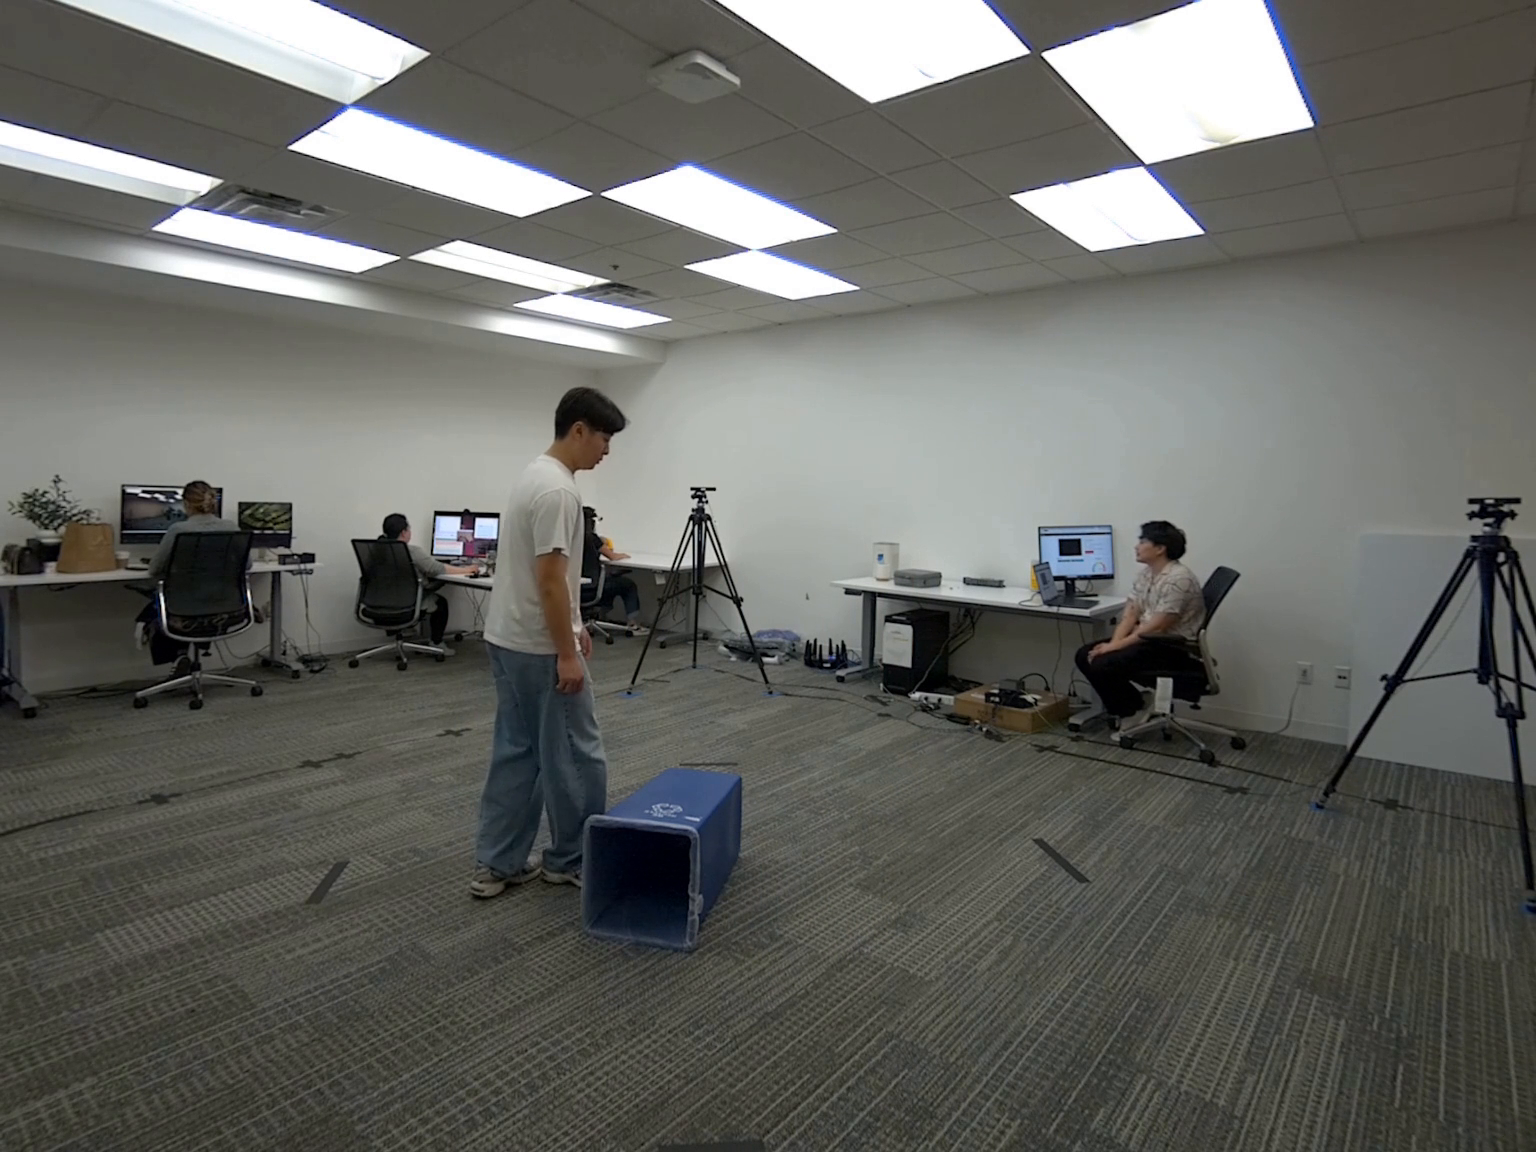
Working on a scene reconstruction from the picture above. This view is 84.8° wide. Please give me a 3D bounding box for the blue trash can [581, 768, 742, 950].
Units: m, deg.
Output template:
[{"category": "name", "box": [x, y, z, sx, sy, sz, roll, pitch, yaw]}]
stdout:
[{"category": "blue trash can", "box": [-0.334, 0.912, 2.916, 0.380, 0.378, 0.704, 1, 2, 12]}]
